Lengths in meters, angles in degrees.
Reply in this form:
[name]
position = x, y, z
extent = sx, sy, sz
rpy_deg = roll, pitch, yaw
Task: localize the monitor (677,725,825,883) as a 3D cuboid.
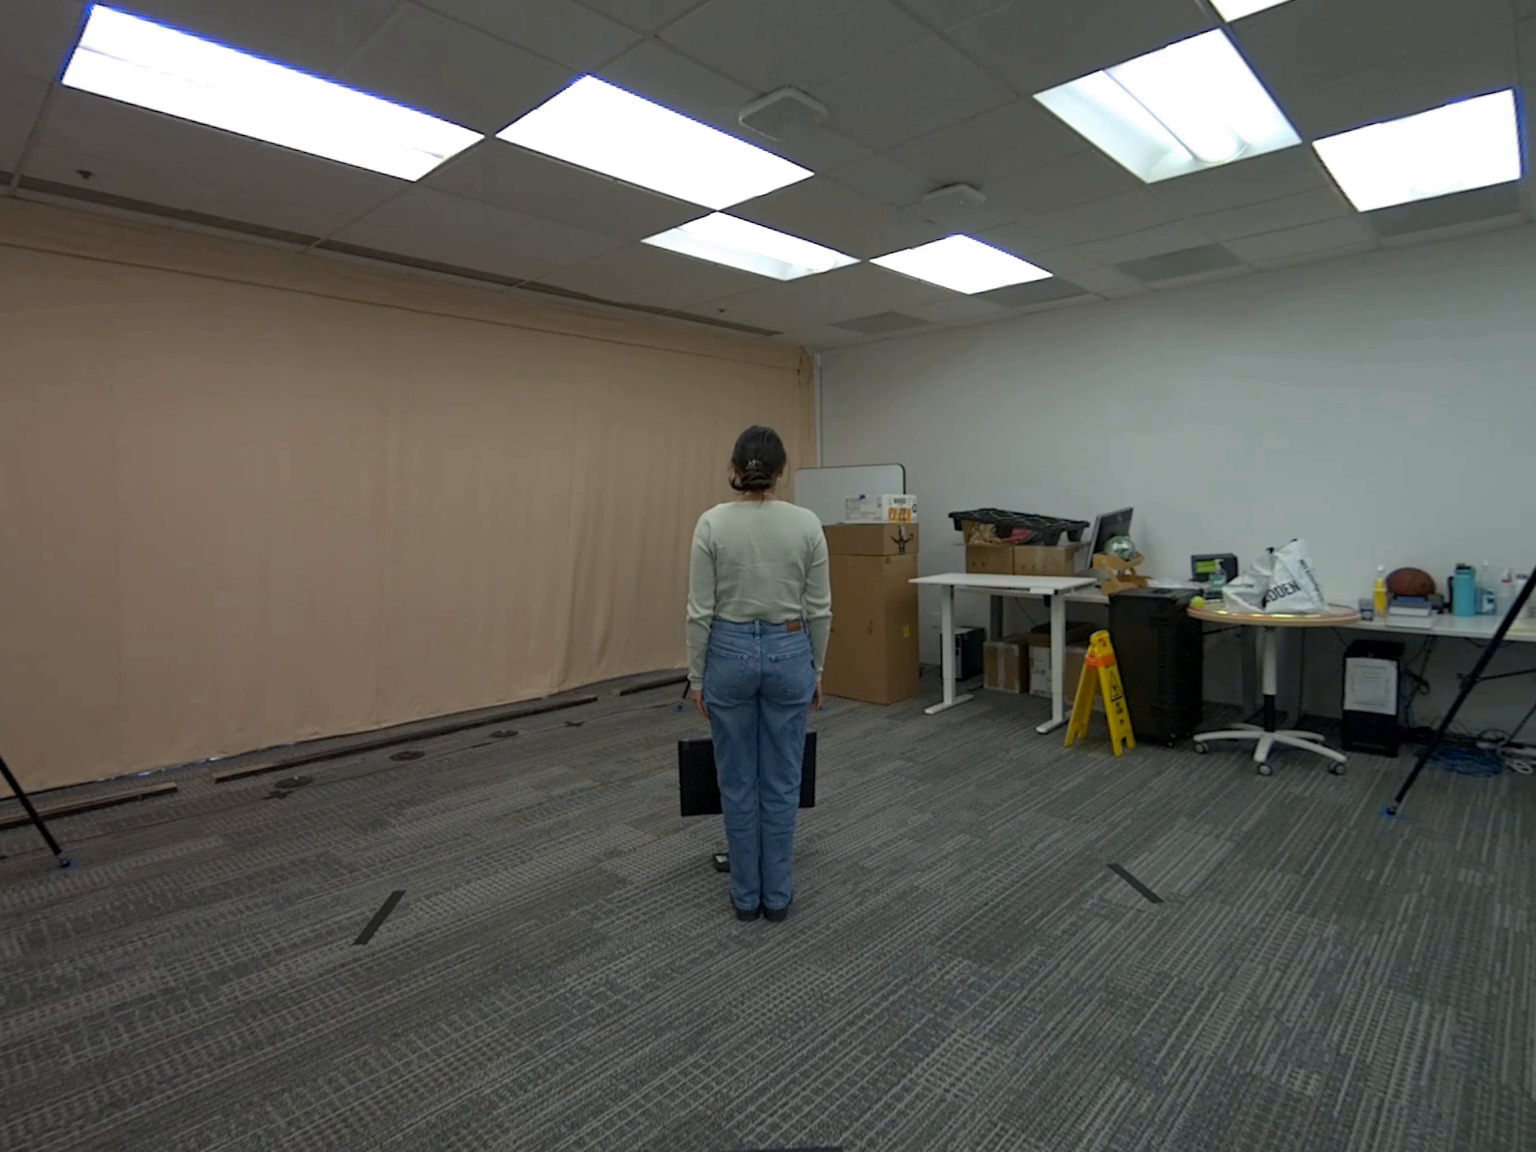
[monitor]
position = -0.072, 0.861, 3.243
extent = 0.527, 0.515, 0.176
rpy_deg = -2, 3, -5
